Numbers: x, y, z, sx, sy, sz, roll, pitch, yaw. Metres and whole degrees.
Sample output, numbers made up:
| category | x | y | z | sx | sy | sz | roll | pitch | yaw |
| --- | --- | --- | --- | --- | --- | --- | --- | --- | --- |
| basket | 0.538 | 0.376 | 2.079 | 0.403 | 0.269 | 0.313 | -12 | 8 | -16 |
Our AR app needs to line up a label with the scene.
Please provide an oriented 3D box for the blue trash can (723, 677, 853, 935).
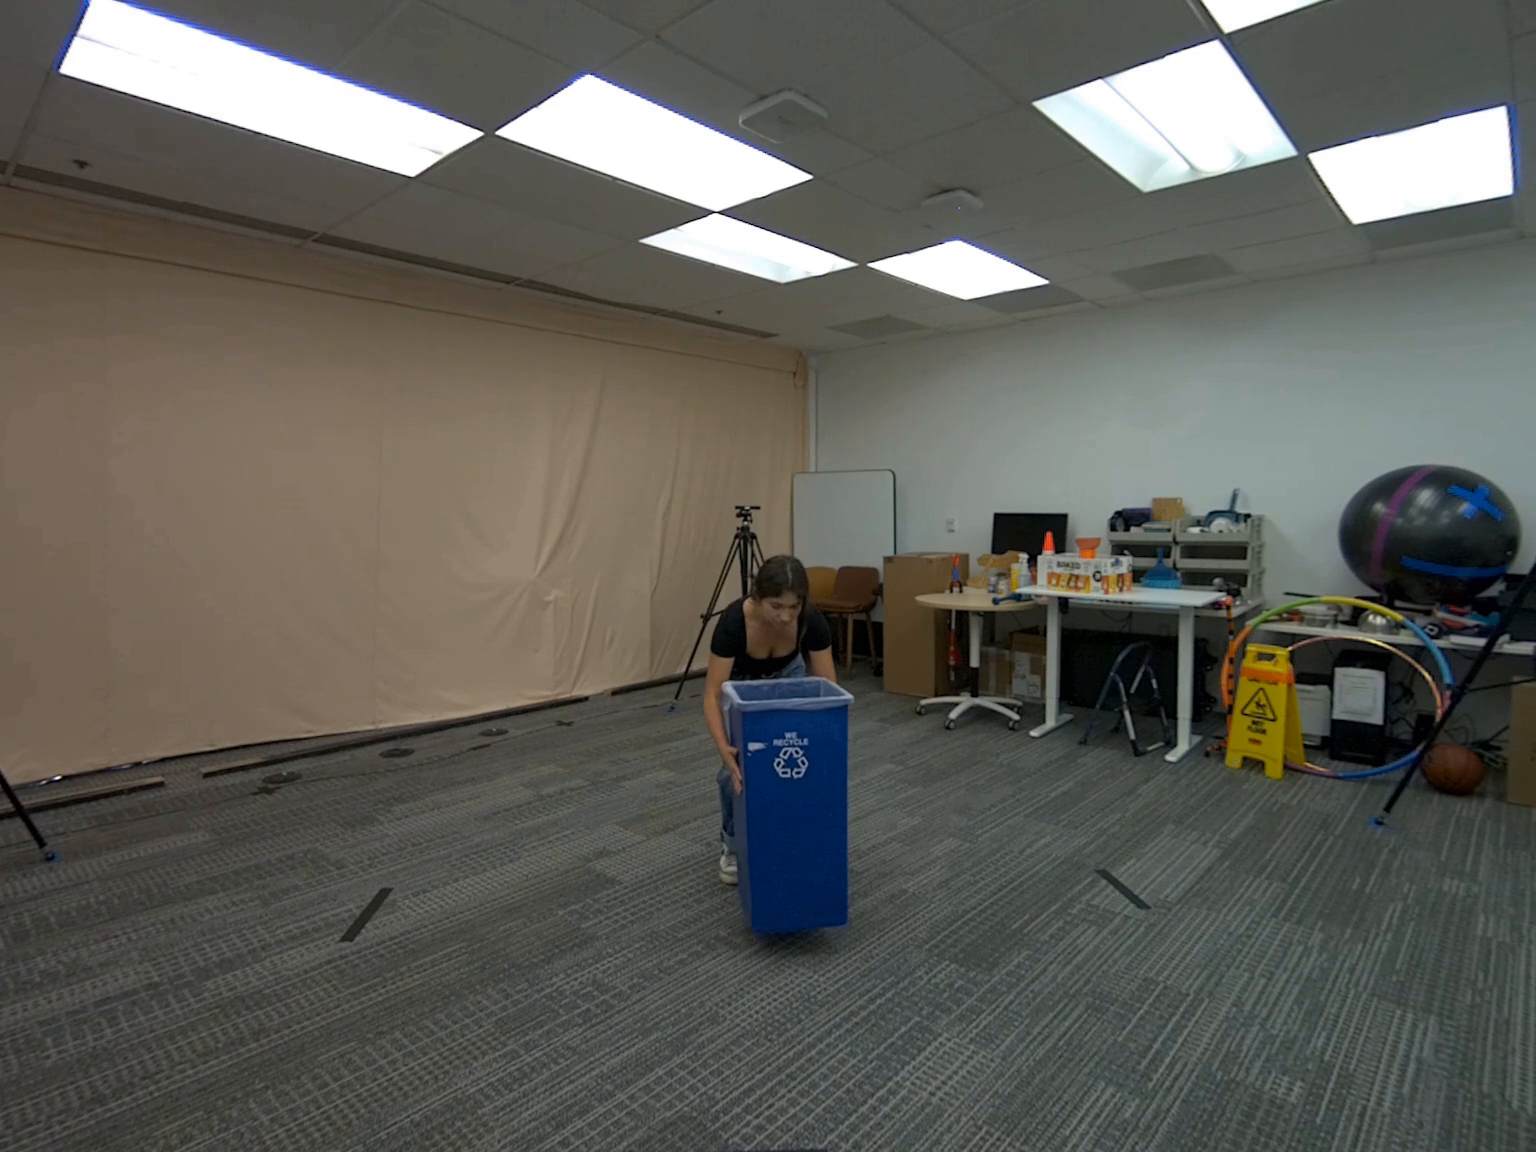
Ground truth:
| category | x | y | z | sx | sy | sz | roll | pitch | yaw |
| --- | --- | --- | --- | --- | --- | --- | --- | --- | --- |
| blue trash can | 0.064 | 0.715 | 2.721 | 0.371 | 0.713 | 0.382 | -2 | 2 | -9 |
